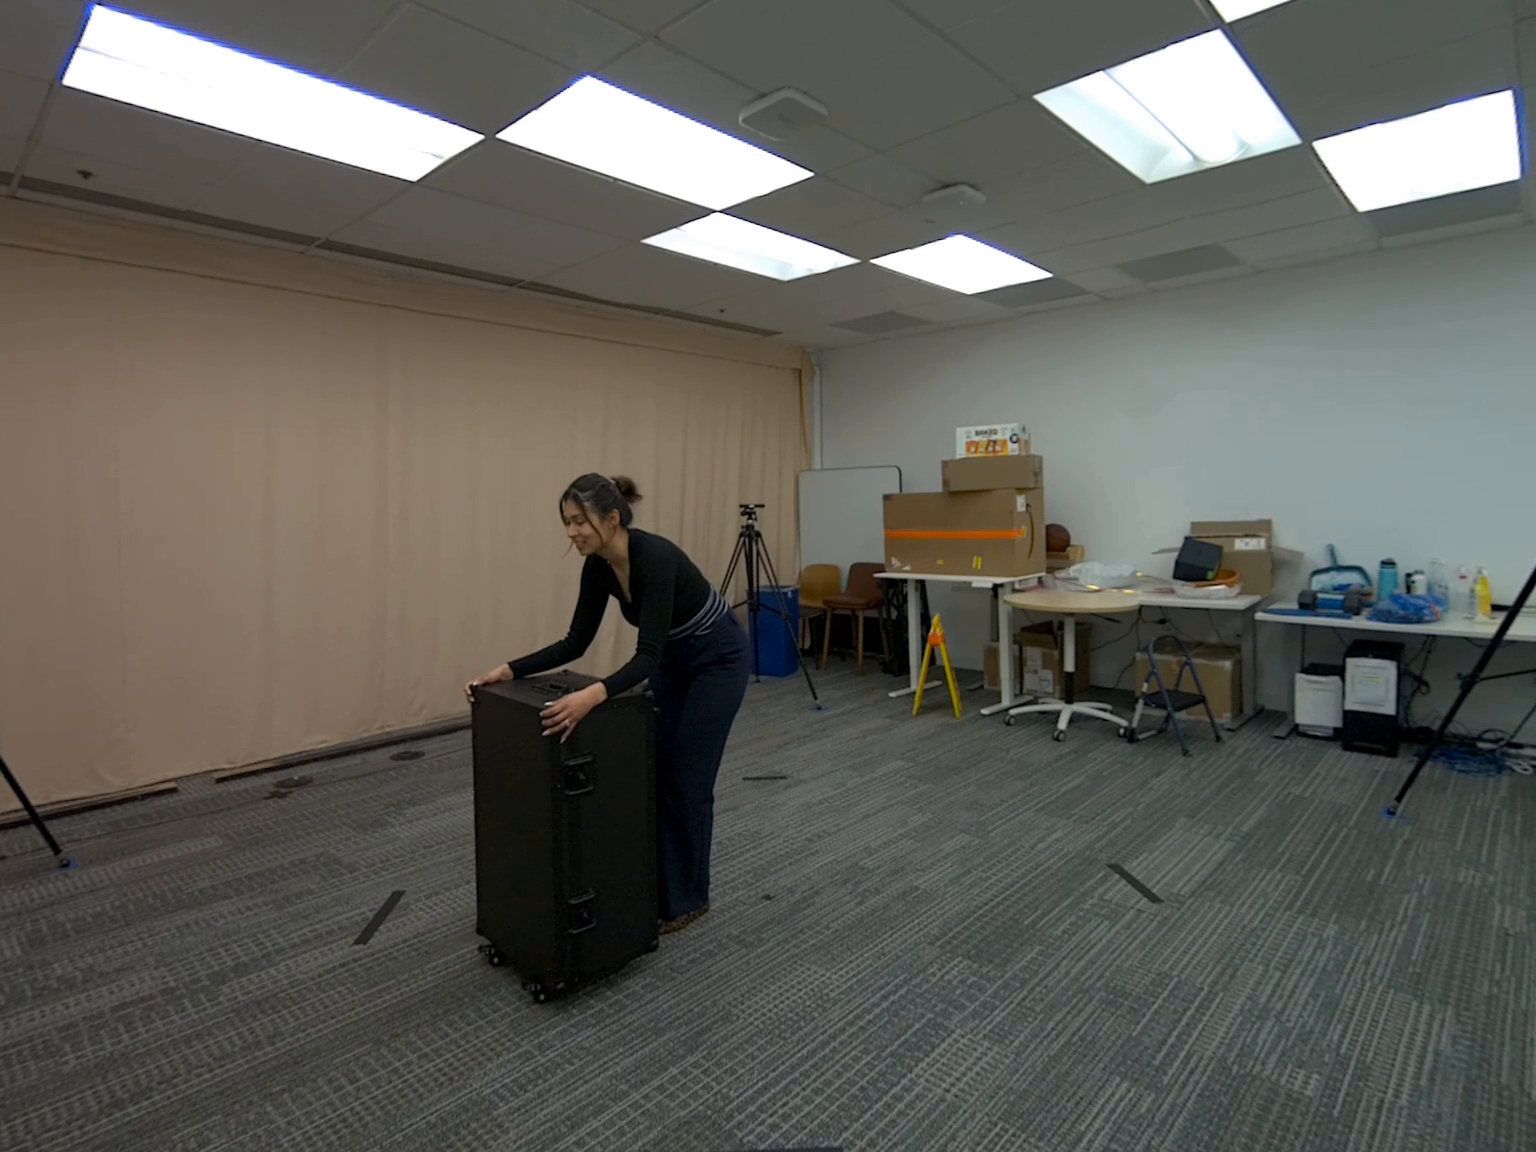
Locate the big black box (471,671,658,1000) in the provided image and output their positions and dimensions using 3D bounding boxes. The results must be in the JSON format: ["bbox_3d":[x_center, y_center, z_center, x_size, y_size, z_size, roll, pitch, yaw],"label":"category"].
[{"bbox_3d":[-0.618,0.763,2.573,0.384,0.860,0.538,-1,2,-44],"label":"big black box"}]
